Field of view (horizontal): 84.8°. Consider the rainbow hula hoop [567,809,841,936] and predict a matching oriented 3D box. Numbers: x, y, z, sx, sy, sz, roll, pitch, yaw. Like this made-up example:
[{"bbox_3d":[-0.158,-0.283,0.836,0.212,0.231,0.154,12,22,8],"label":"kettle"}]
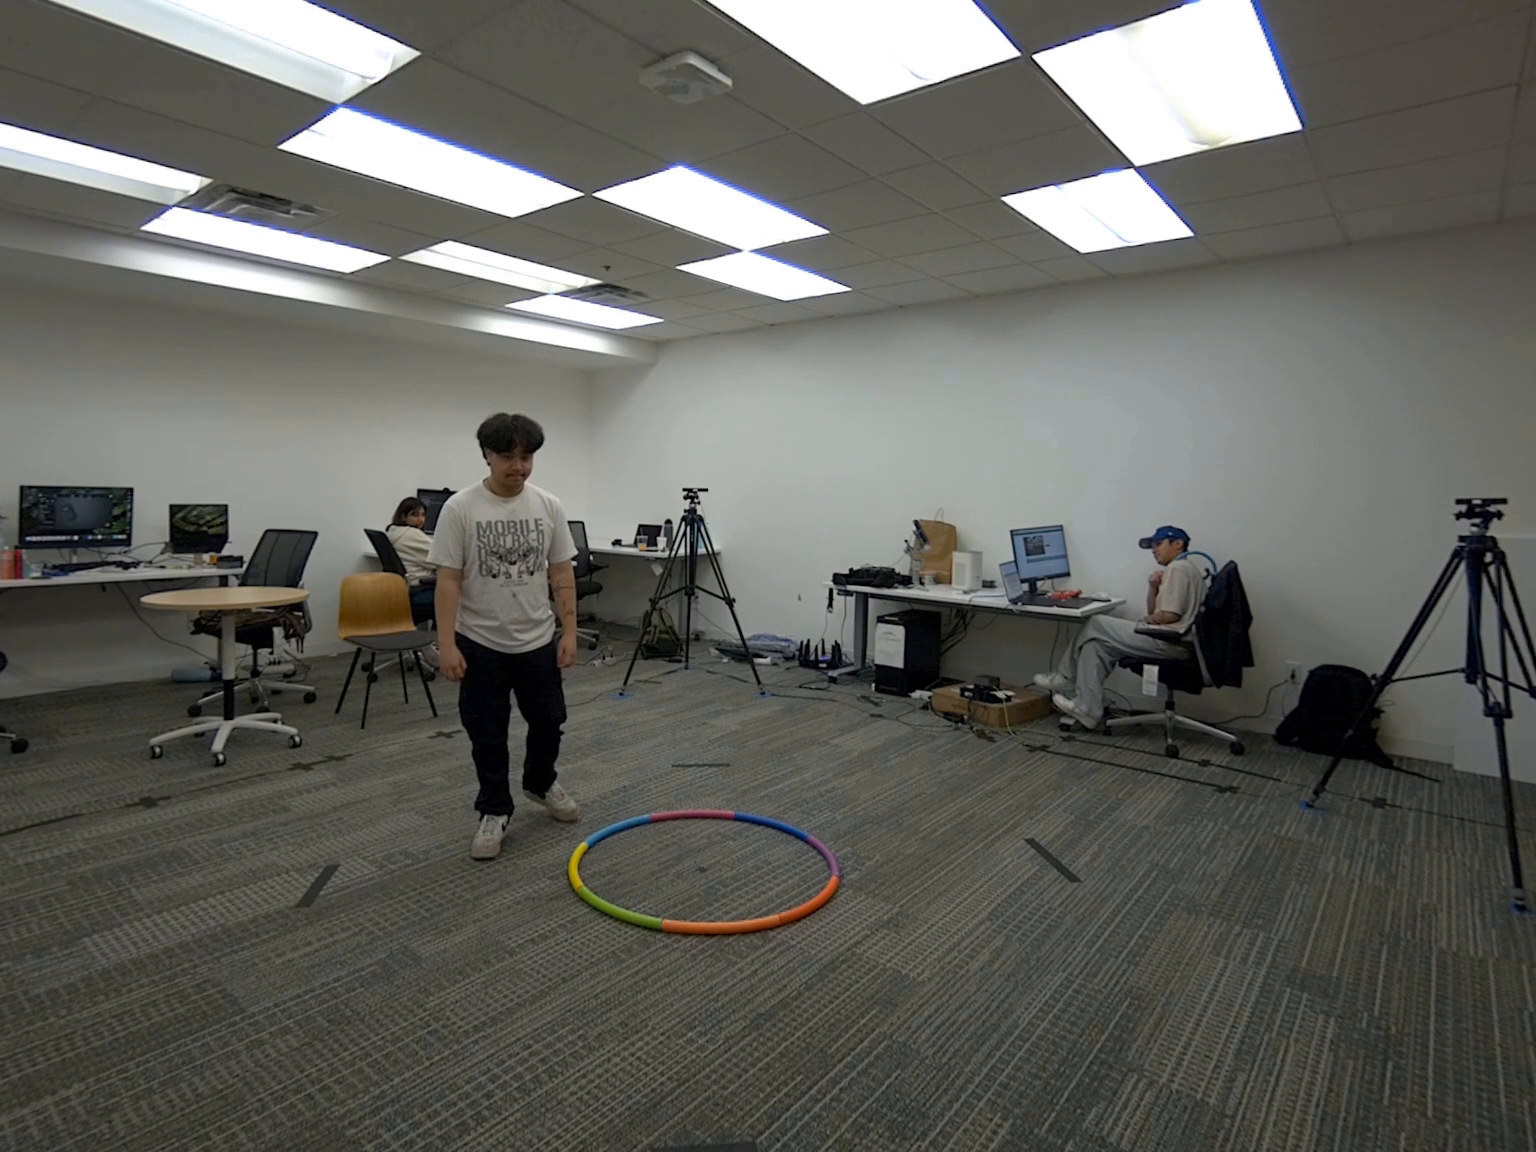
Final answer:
[{"bbox_3d":[-0.244,1.042,3.127,0.984,0.051,0.991,1,6,-2],"label":"rainbow hula hoop"}]
